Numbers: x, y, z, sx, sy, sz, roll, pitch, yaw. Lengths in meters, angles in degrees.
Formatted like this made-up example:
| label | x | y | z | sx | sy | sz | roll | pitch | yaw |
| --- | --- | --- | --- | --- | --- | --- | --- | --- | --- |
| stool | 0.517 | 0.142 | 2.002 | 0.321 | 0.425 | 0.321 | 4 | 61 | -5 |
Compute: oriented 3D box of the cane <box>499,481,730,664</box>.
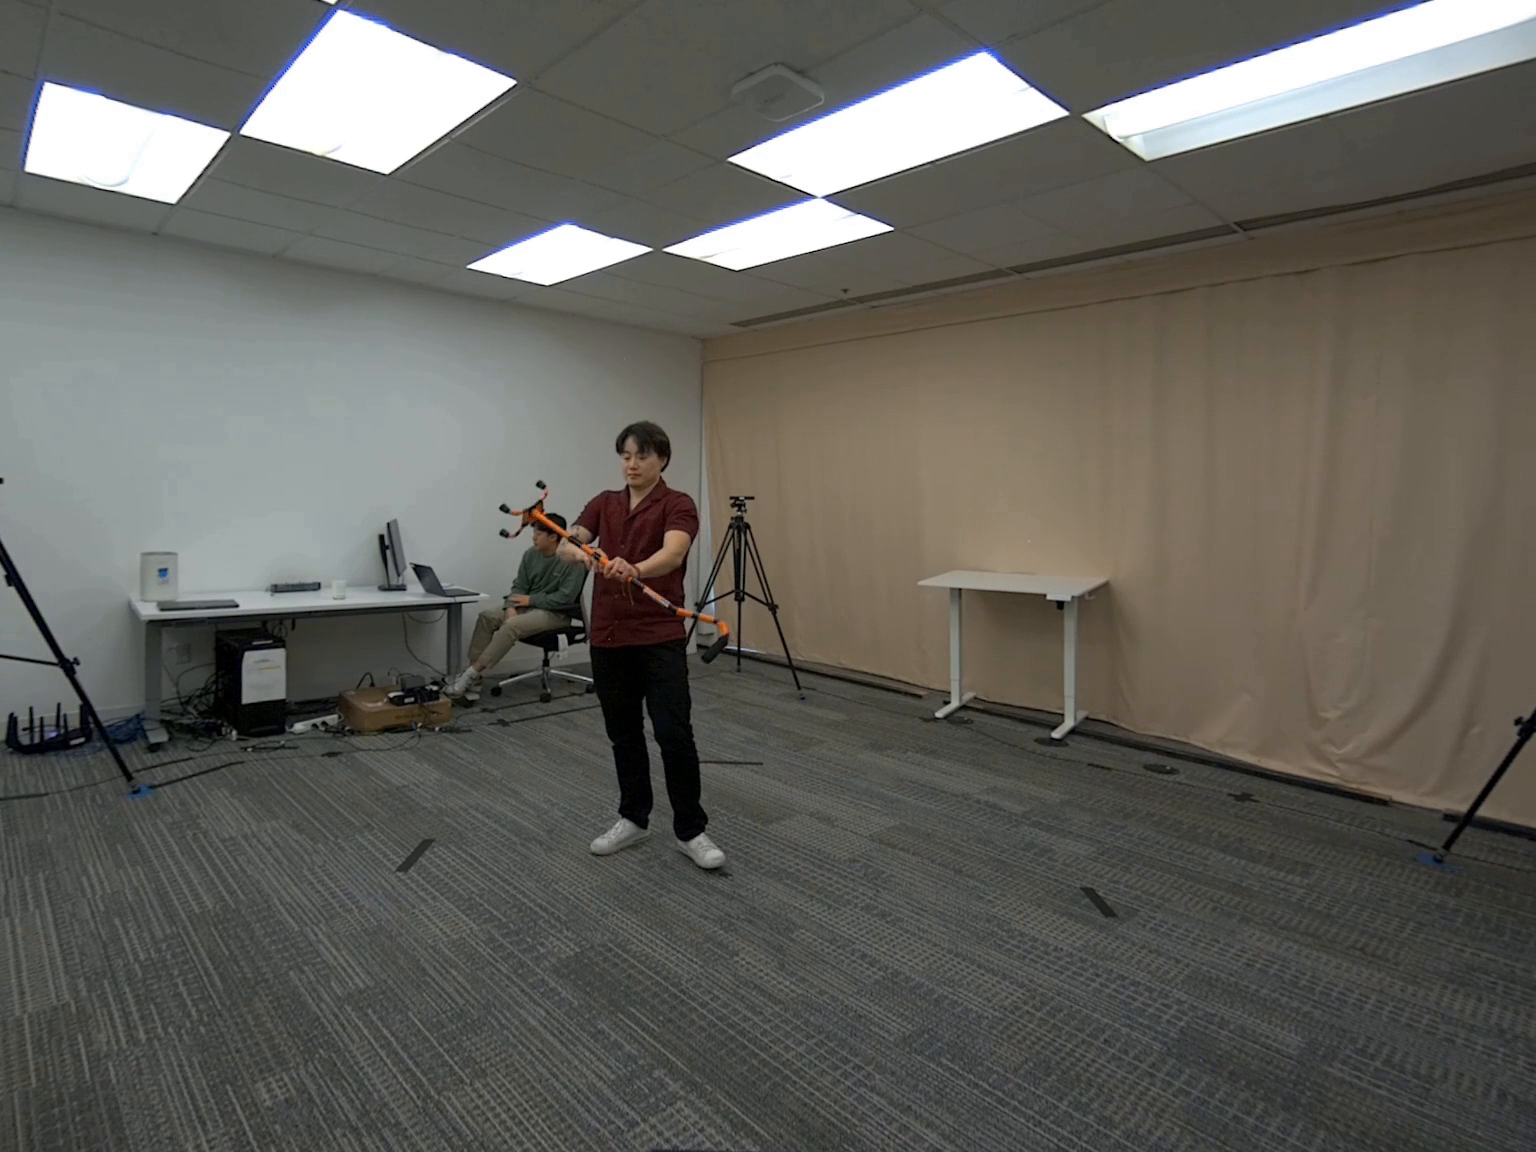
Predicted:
| label | x | y | z | sx | sy | sz | roll | pitch | yaw |
| --- | --- | --- | --- | --- | --- | --- | --- | --- | --- |
| cane | -0.522 | -0.004 | 2.846 | 0.926 | 0.149 | 0.206 | 34 | 49 | 18 |
